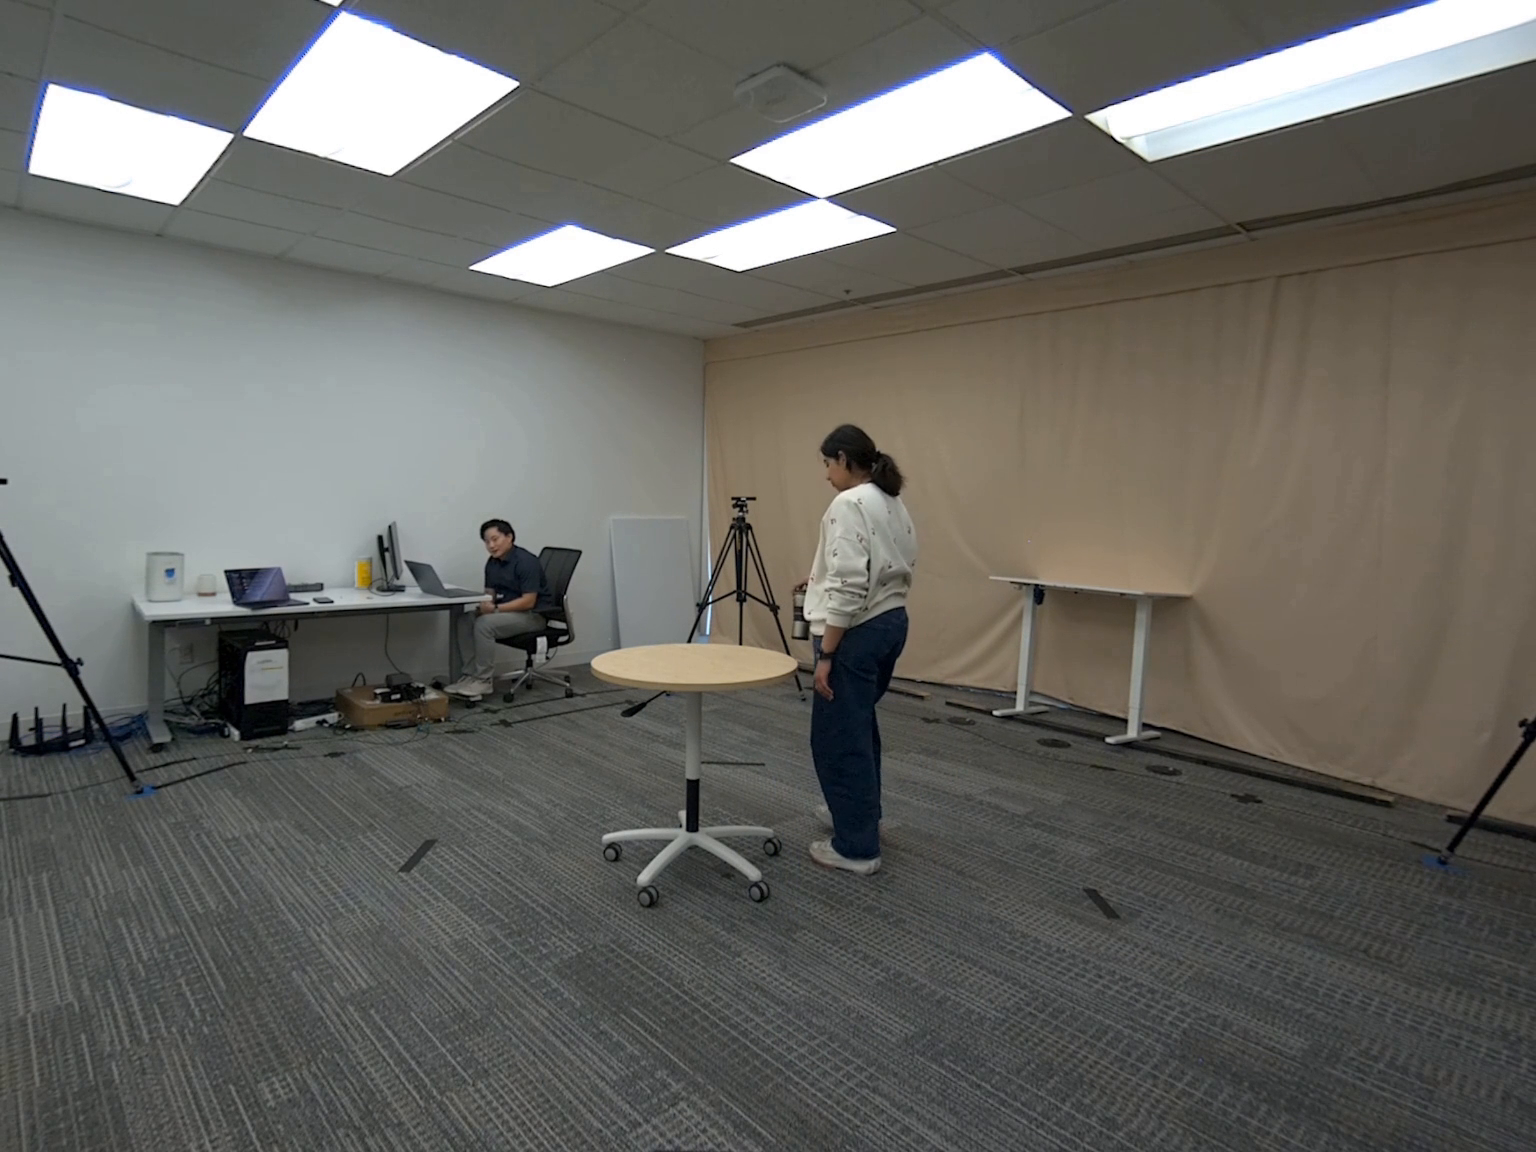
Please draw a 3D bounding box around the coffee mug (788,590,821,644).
[{"bbox_3d":[0.161,0.159,3.371,0.125,0.204,0.085,-3,-9,45],"label":"coffee mug"}]
